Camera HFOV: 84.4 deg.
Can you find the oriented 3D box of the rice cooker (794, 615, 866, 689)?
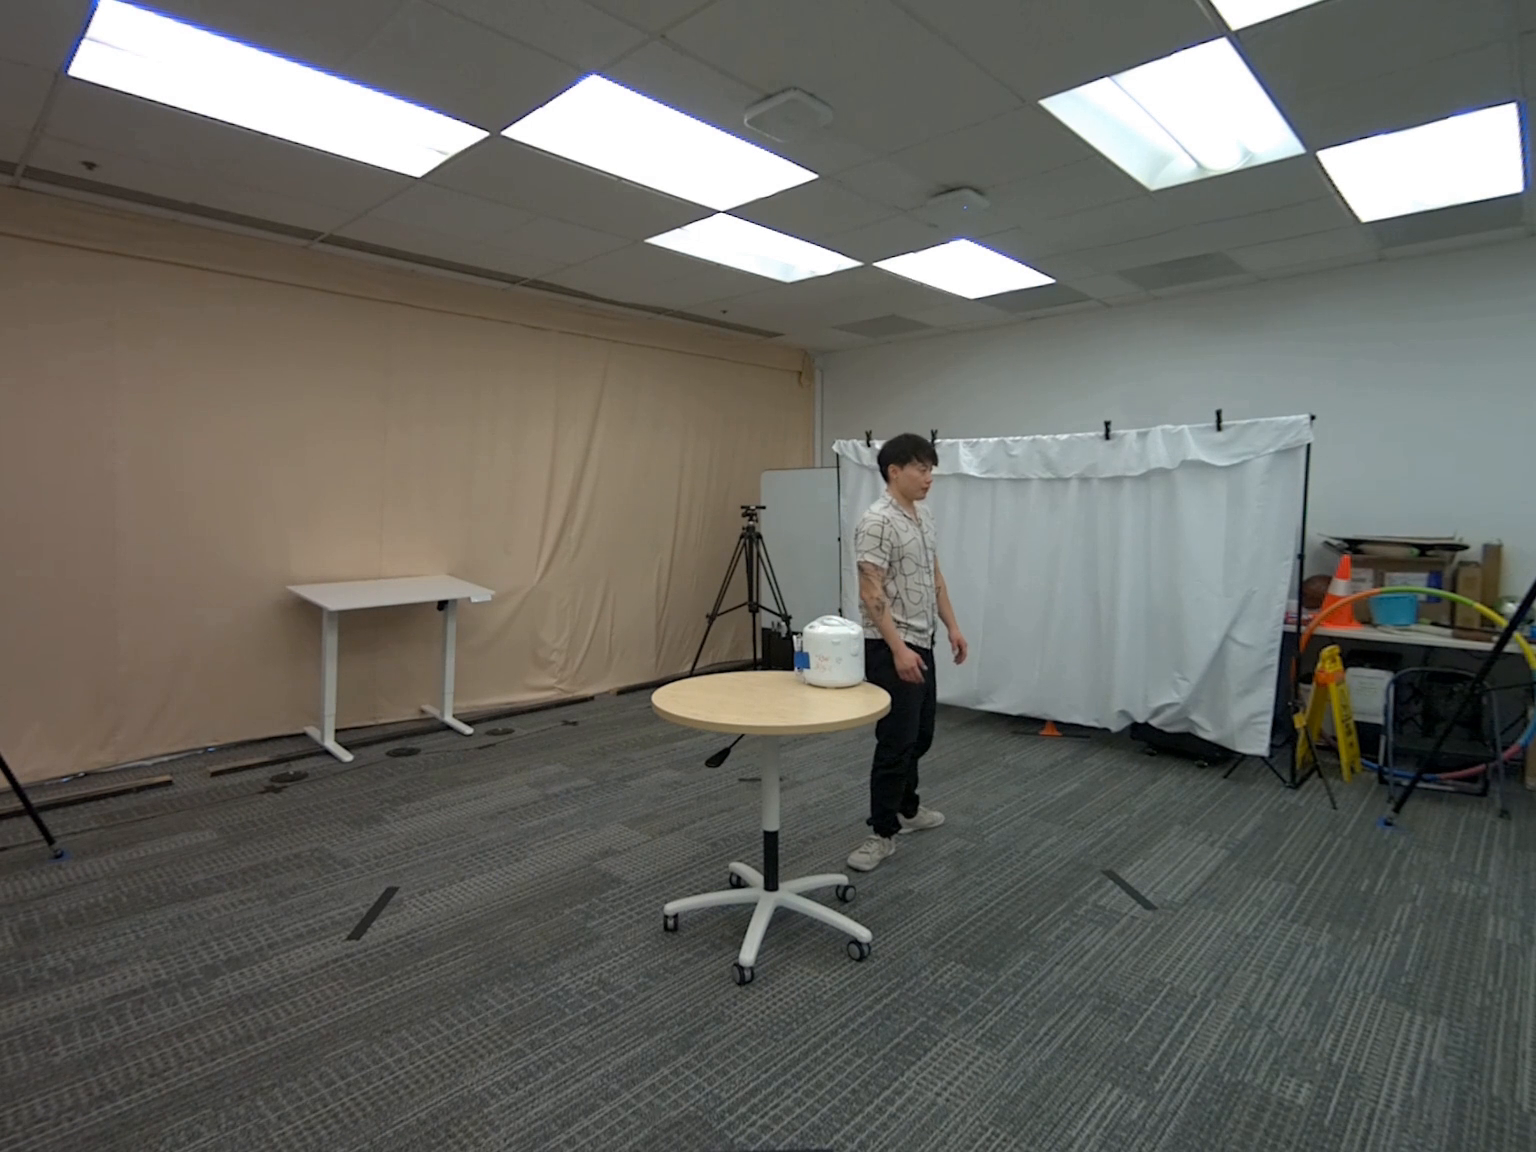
[{"bbox_3d":[0.224,0.250,2.872,0.211,0.232,0.228,-4,5,-38],"label":"rice cooker"}]
